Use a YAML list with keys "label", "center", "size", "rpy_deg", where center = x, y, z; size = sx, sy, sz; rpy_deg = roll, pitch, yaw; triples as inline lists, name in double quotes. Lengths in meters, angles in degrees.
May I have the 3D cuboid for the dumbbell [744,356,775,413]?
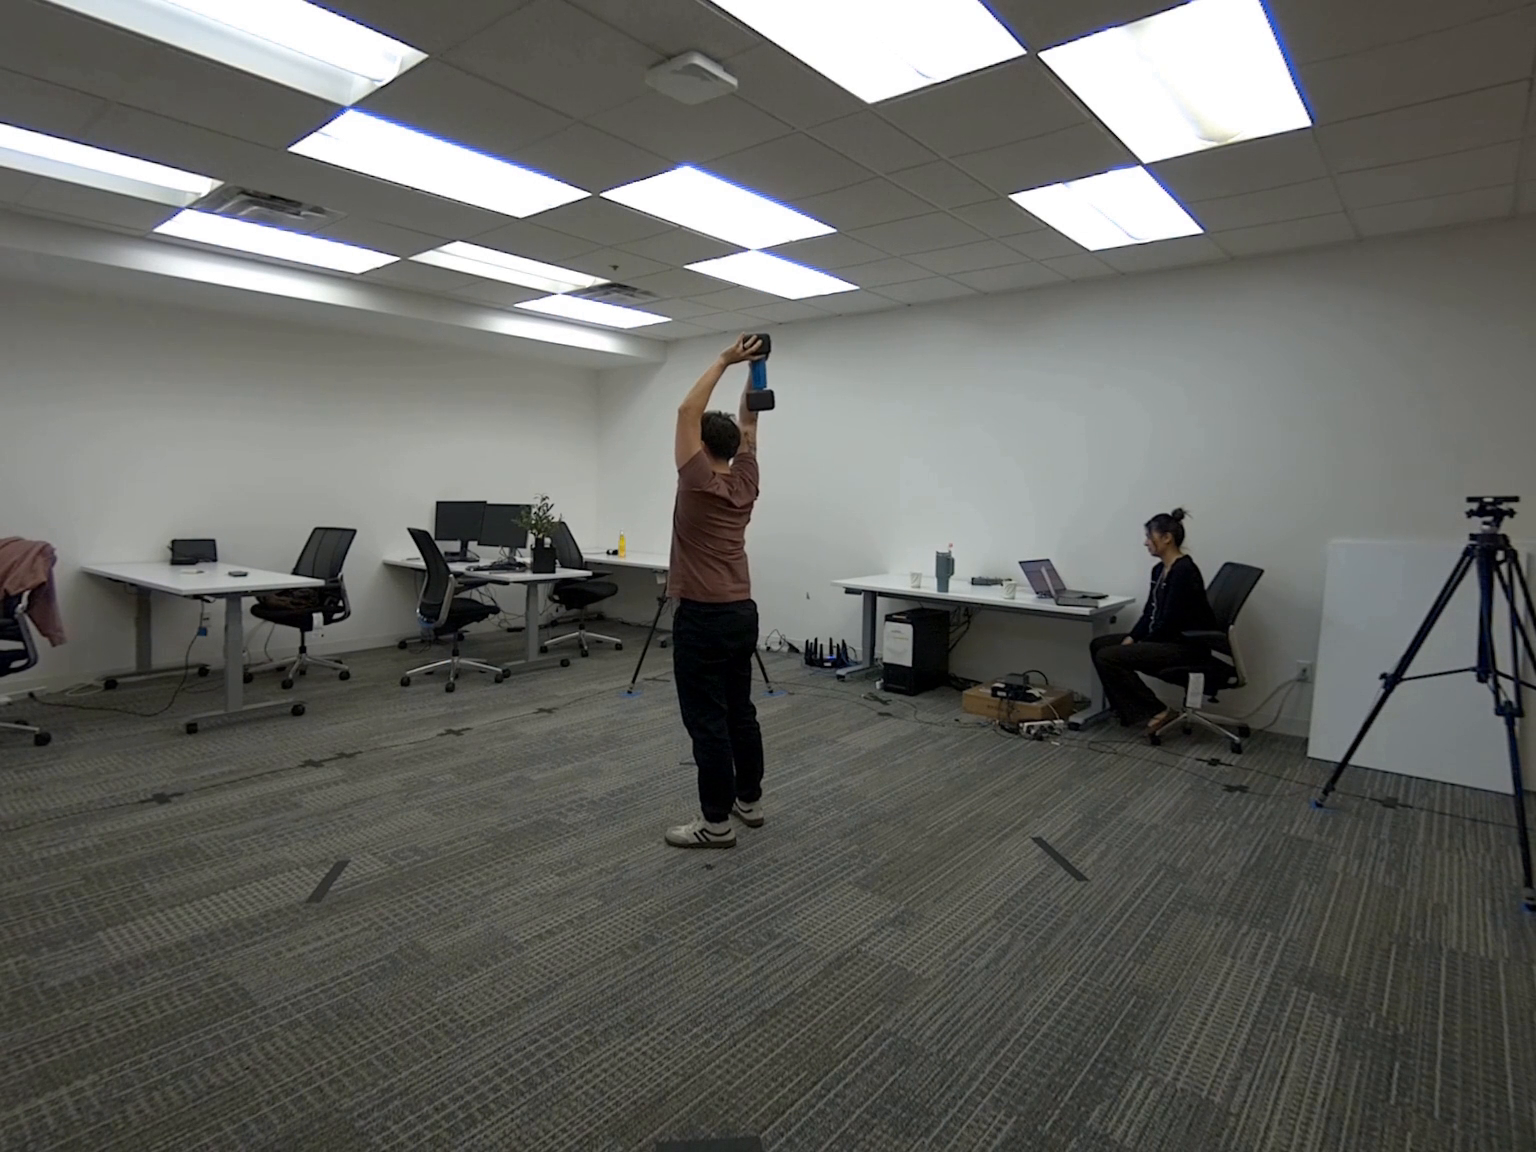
- label: "dumbbell"
  center: [-0.046, -0.783, 3.284]
  size: [0.127, 0.292, 0.106]
  rpy_deg: [-2, 7, 41]
